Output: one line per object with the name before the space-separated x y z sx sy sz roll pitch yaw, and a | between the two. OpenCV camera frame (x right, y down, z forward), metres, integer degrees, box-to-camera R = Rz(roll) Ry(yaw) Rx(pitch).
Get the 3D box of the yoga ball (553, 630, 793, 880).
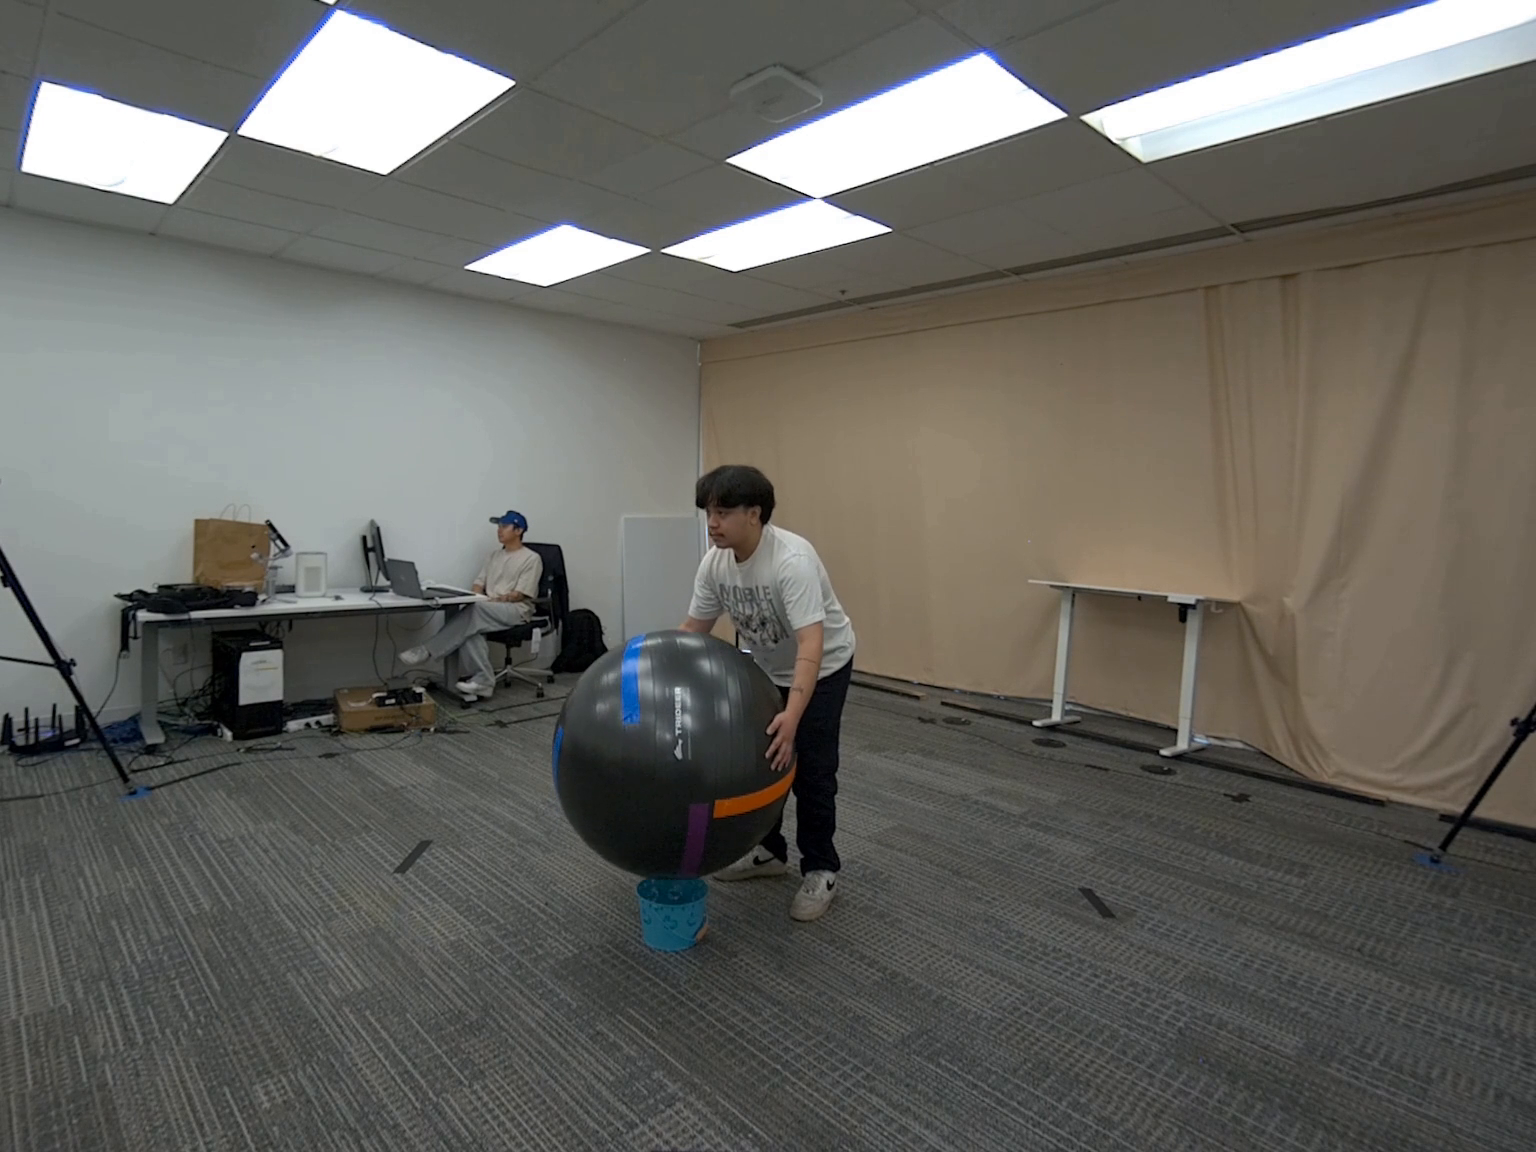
yoga ball | -0.299 0.553 2.644 0.757 0.756 0.760 1 4 -1
